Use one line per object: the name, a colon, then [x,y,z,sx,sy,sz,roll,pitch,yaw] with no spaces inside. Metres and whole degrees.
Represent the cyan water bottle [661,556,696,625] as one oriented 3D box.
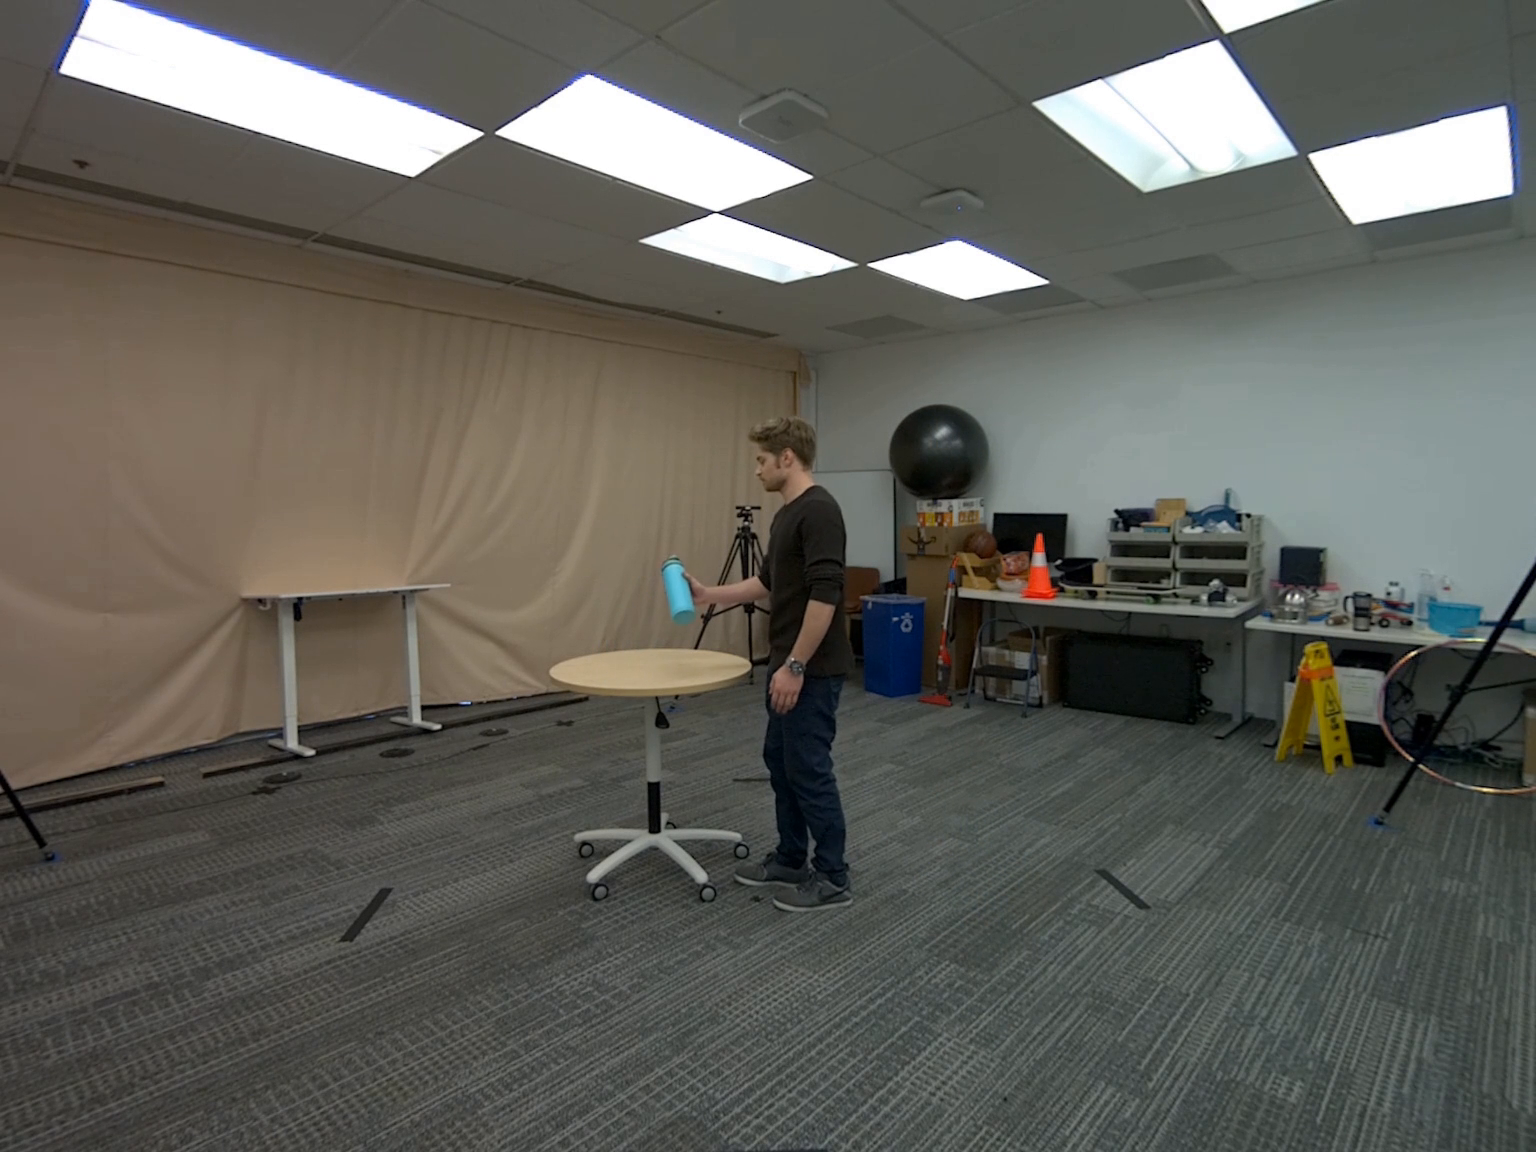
cyan water bottle: [-0.334,0.048,3.143,0.091,0.091,0.291,-2,47,-18]
